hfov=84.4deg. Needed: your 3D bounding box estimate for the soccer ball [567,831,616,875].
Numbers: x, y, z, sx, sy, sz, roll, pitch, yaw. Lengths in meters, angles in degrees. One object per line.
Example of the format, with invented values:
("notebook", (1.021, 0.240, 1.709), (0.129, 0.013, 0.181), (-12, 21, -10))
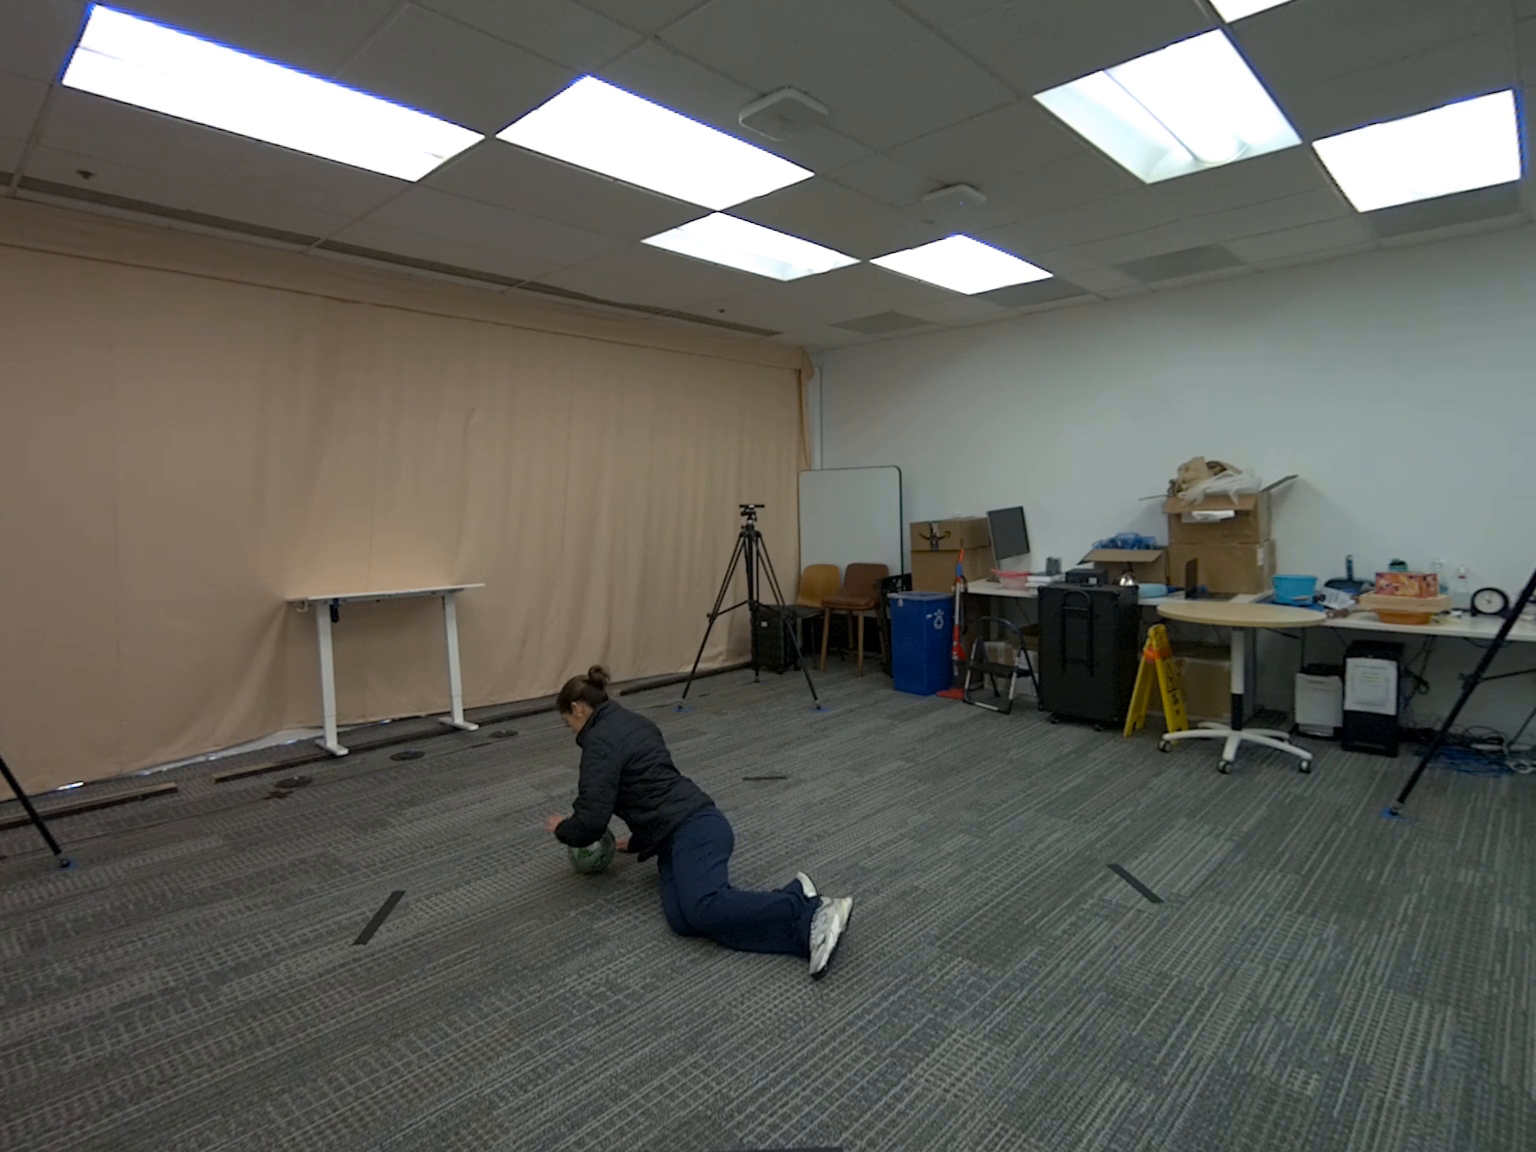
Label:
("soccer ball", (-0.678, 1.046, 3.233), (0.187, 0.187, 0.188), (-1, 4, -2))
